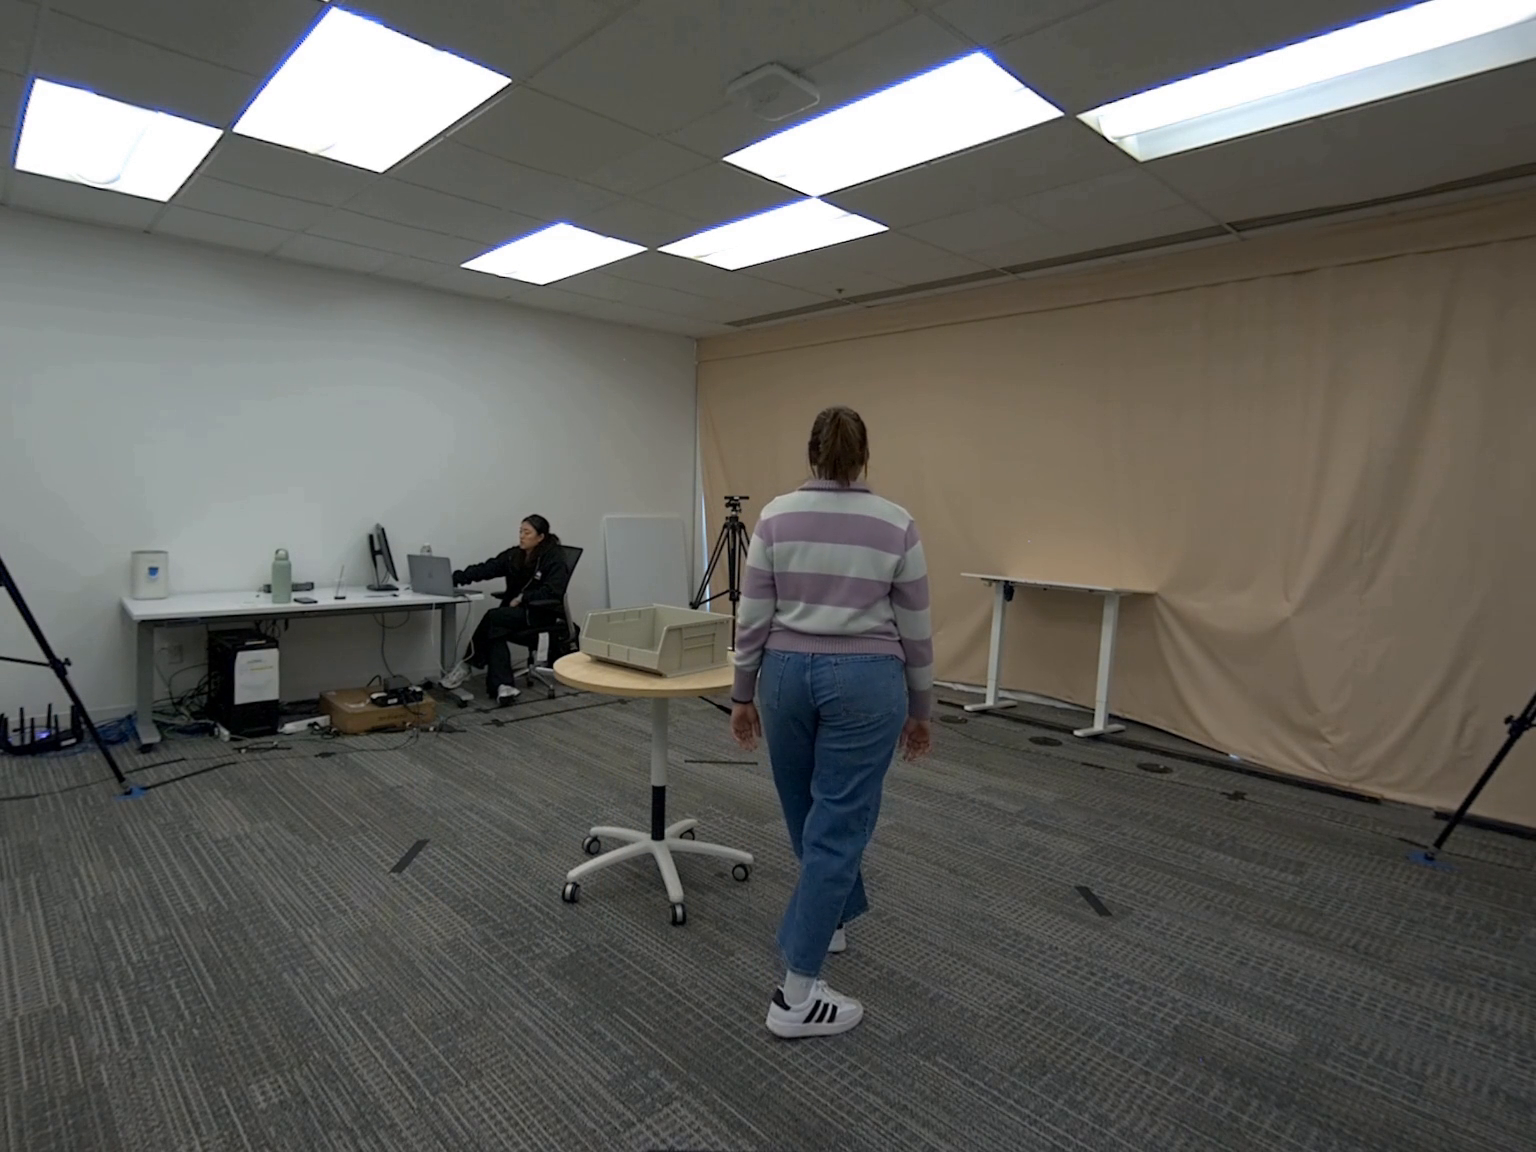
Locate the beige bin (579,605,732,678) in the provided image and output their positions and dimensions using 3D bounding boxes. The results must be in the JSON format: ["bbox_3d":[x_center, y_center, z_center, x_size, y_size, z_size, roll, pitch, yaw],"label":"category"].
[{"bbox_3d":[-0.410,0.229,3.050,0.433,0.188,0.369,5,5,39],"label":"beige bin"}]
